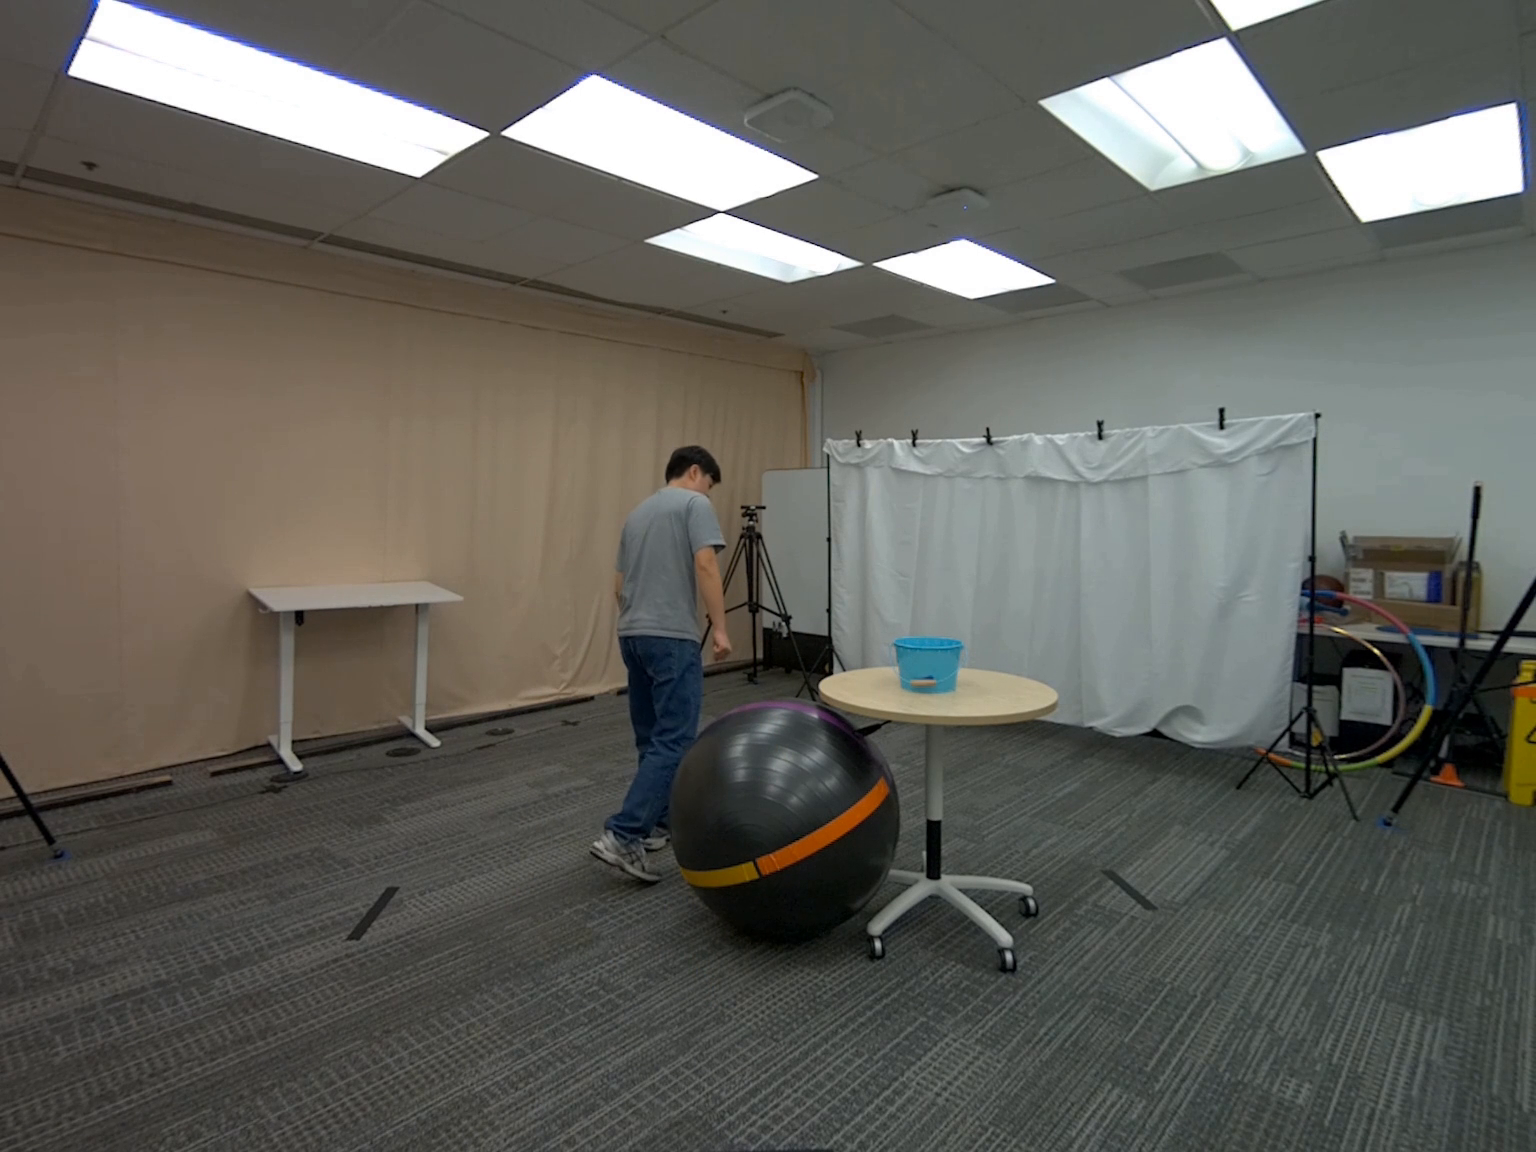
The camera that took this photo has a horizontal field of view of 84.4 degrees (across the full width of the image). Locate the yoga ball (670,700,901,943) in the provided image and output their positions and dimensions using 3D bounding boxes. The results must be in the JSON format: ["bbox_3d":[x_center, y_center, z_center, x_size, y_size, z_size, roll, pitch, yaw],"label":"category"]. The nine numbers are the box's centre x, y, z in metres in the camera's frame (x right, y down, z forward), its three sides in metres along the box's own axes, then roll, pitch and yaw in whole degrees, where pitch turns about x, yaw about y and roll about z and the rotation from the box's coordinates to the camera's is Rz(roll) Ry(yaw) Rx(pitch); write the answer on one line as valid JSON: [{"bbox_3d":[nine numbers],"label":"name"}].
[{"bbox_3d":[0.049,0.789,2.782,0.757,0.756,0.760,0,4,-2],"label":"yoga ball"}]
